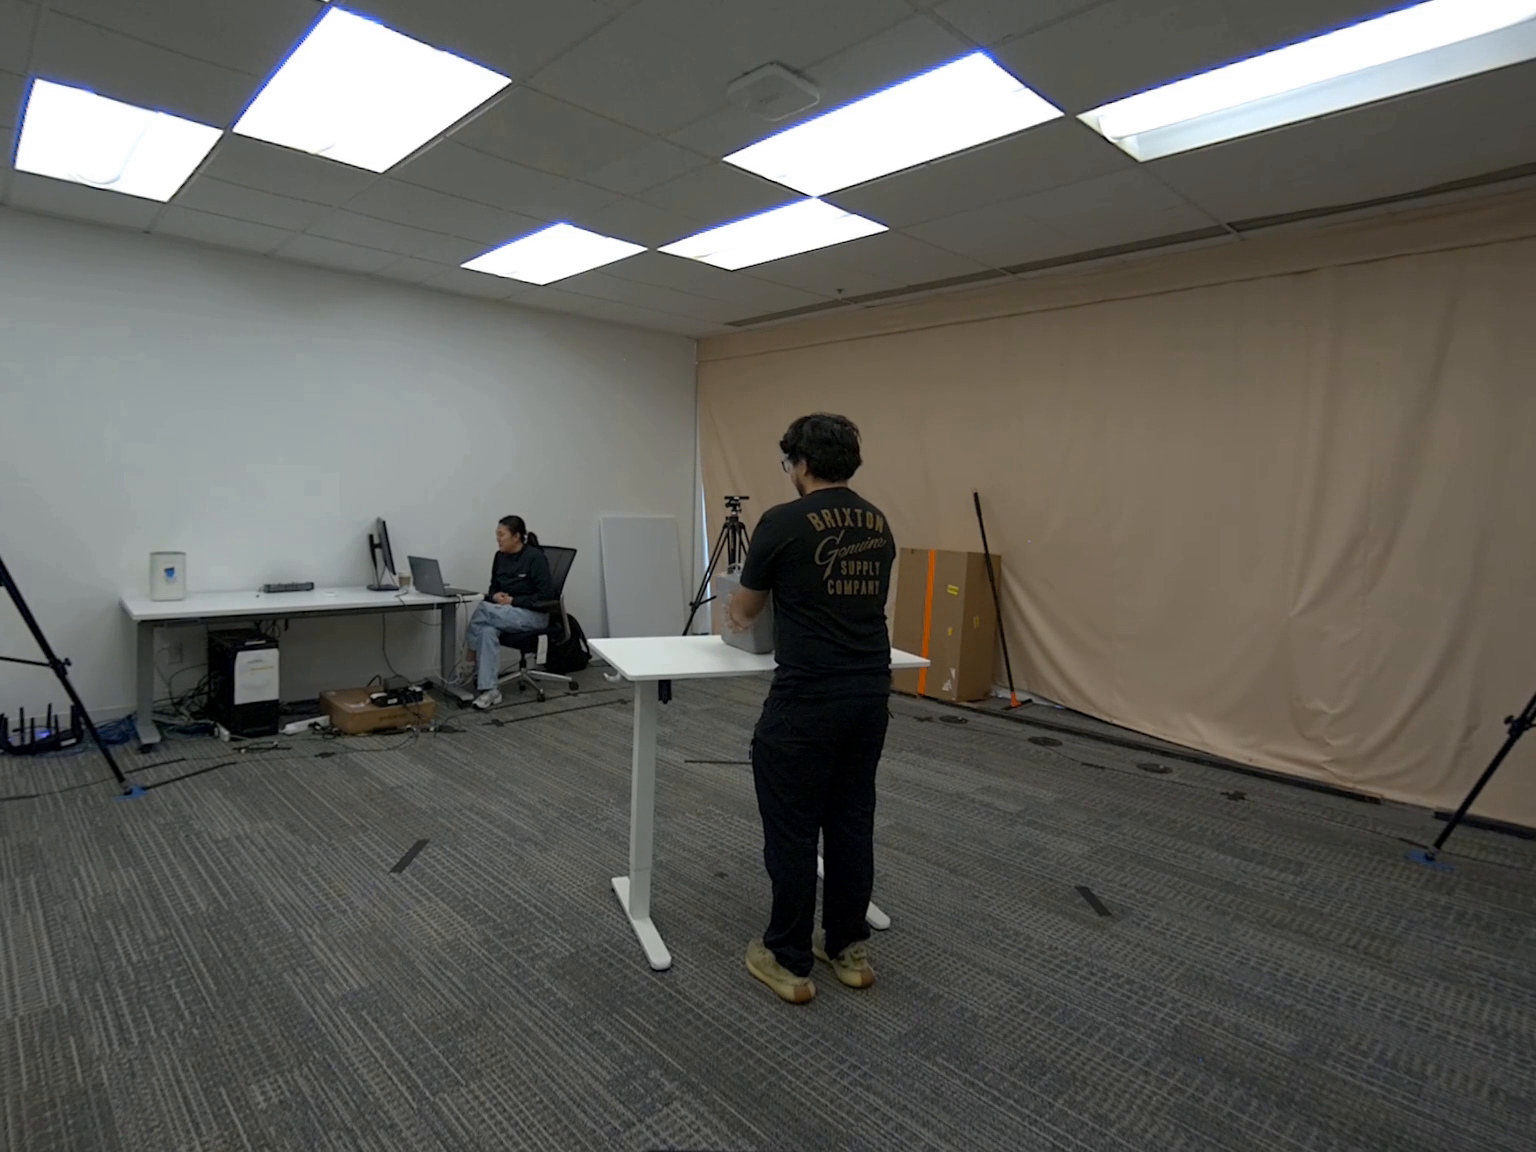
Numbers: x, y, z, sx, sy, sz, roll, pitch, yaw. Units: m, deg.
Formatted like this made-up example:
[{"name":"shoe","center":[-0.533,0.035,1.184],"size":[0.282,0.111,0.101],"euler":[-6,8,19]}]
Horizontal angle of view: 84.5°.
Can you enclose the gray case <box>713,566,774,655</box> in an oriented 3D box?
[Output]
[{"name":"gray case","center":[-0.077,0.116,2.831],"size":[0.103,0.259,0.263],"euler":[-10,11,-27]}]
